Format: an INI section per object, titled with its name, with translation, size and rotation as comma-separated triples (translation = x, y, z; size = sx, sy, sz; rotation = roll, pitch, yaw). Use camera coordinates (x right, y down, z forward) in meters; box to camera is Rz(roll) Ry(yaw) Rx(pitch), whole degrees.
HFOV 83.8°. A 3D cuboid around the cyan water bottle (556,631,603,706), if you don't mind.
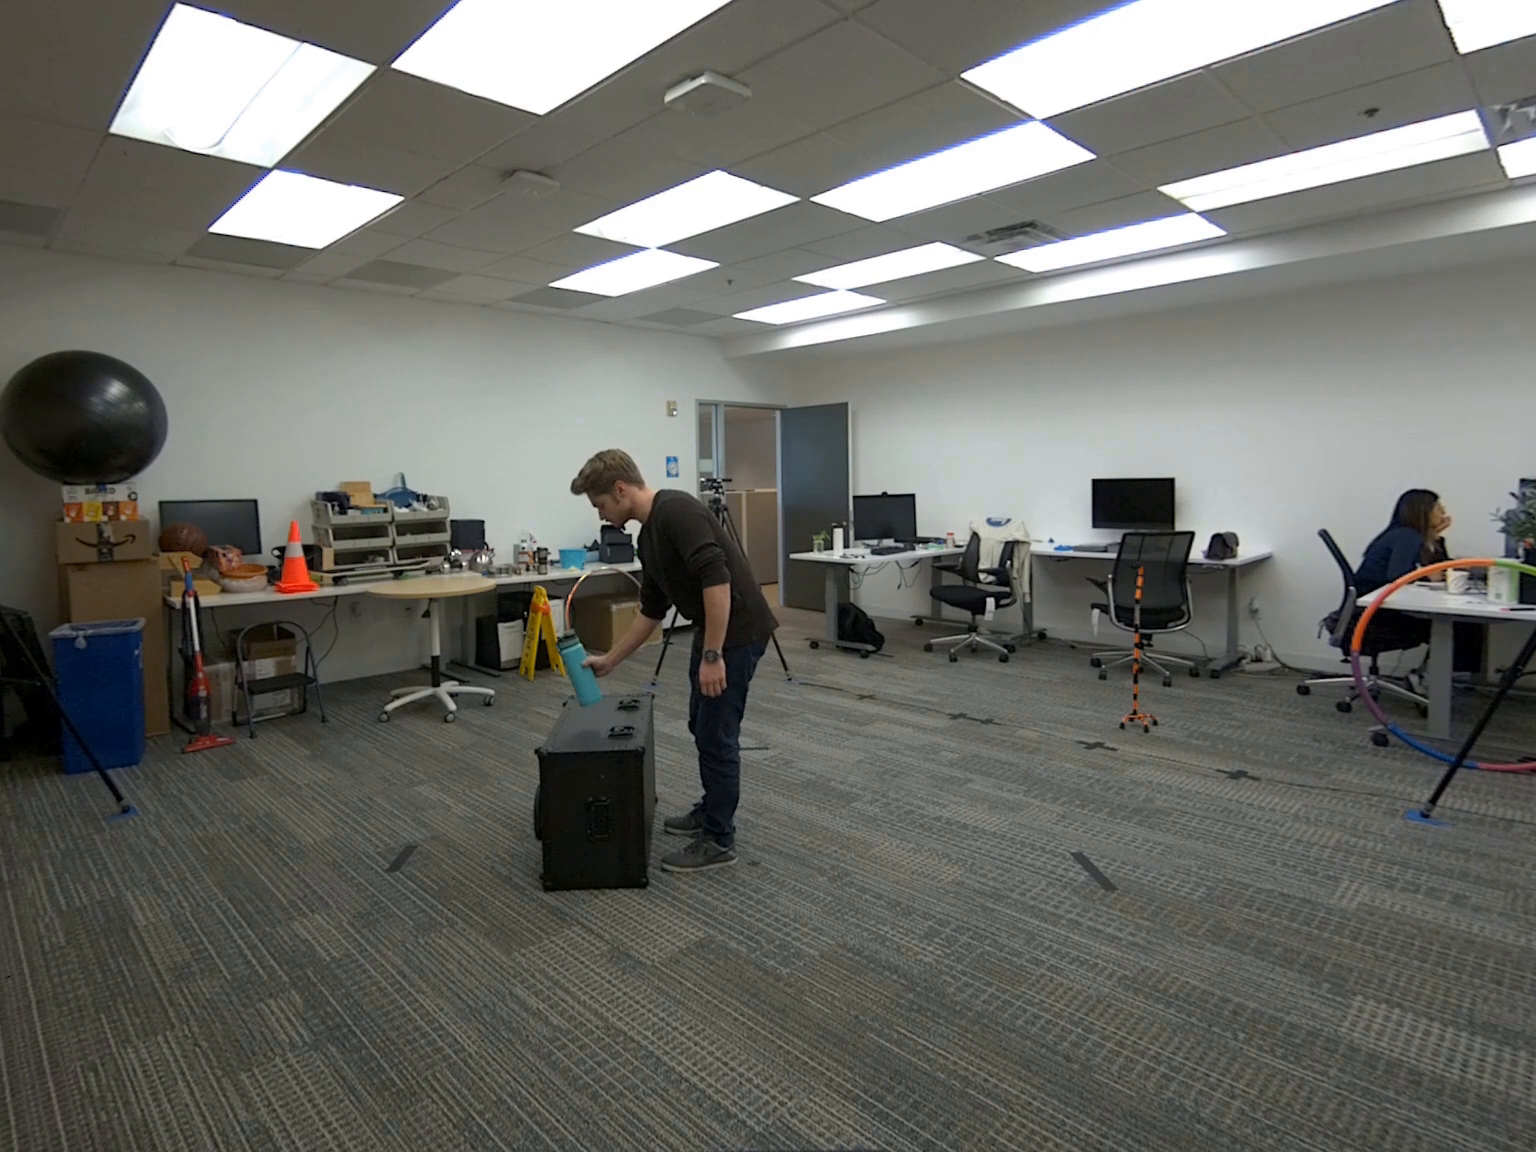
[cyan water bottle]
translation = -0.714, 0.339, 3.205
size = 0.092, 0.282, 0.093
rotation = -22, 4, 0
